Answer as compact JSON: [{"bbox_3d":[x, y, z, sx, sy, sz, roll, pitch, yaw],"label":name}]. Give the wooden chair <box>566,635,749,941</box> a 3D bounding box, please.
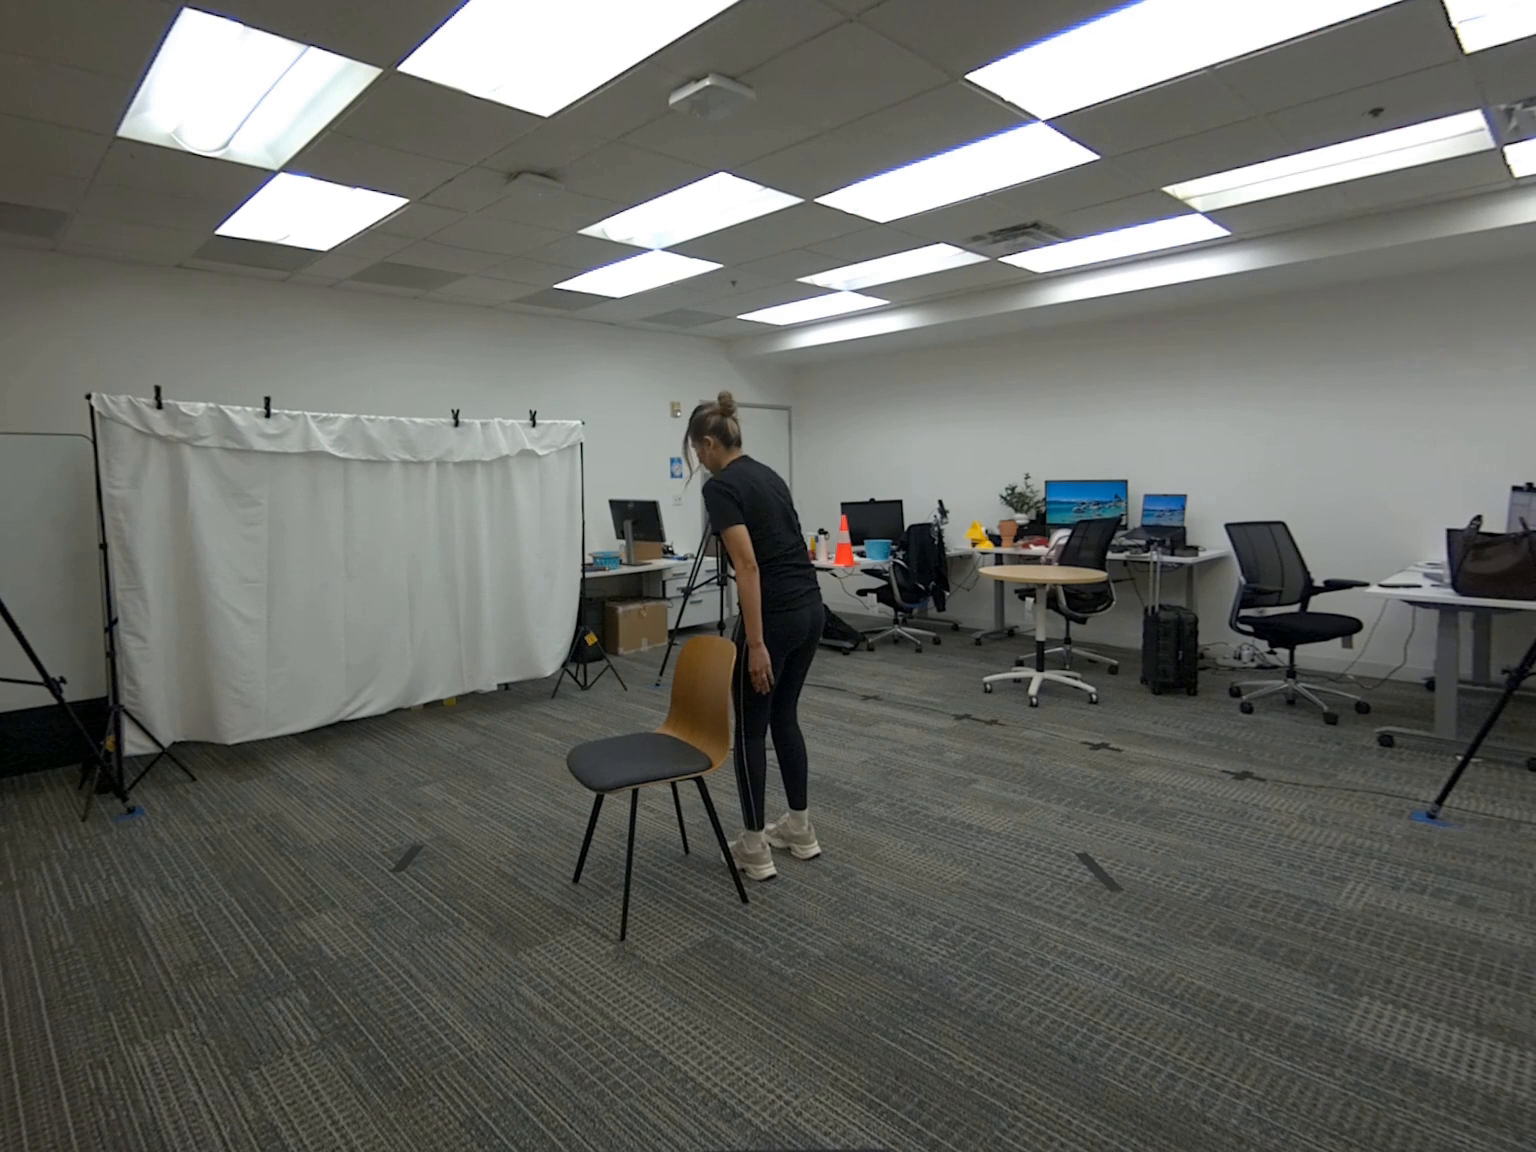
[{"bbox_3d":[-0.388,0.655,2.862,0.510,0.875,0.491,1,3,-30],"label":"wooden chair"}]
